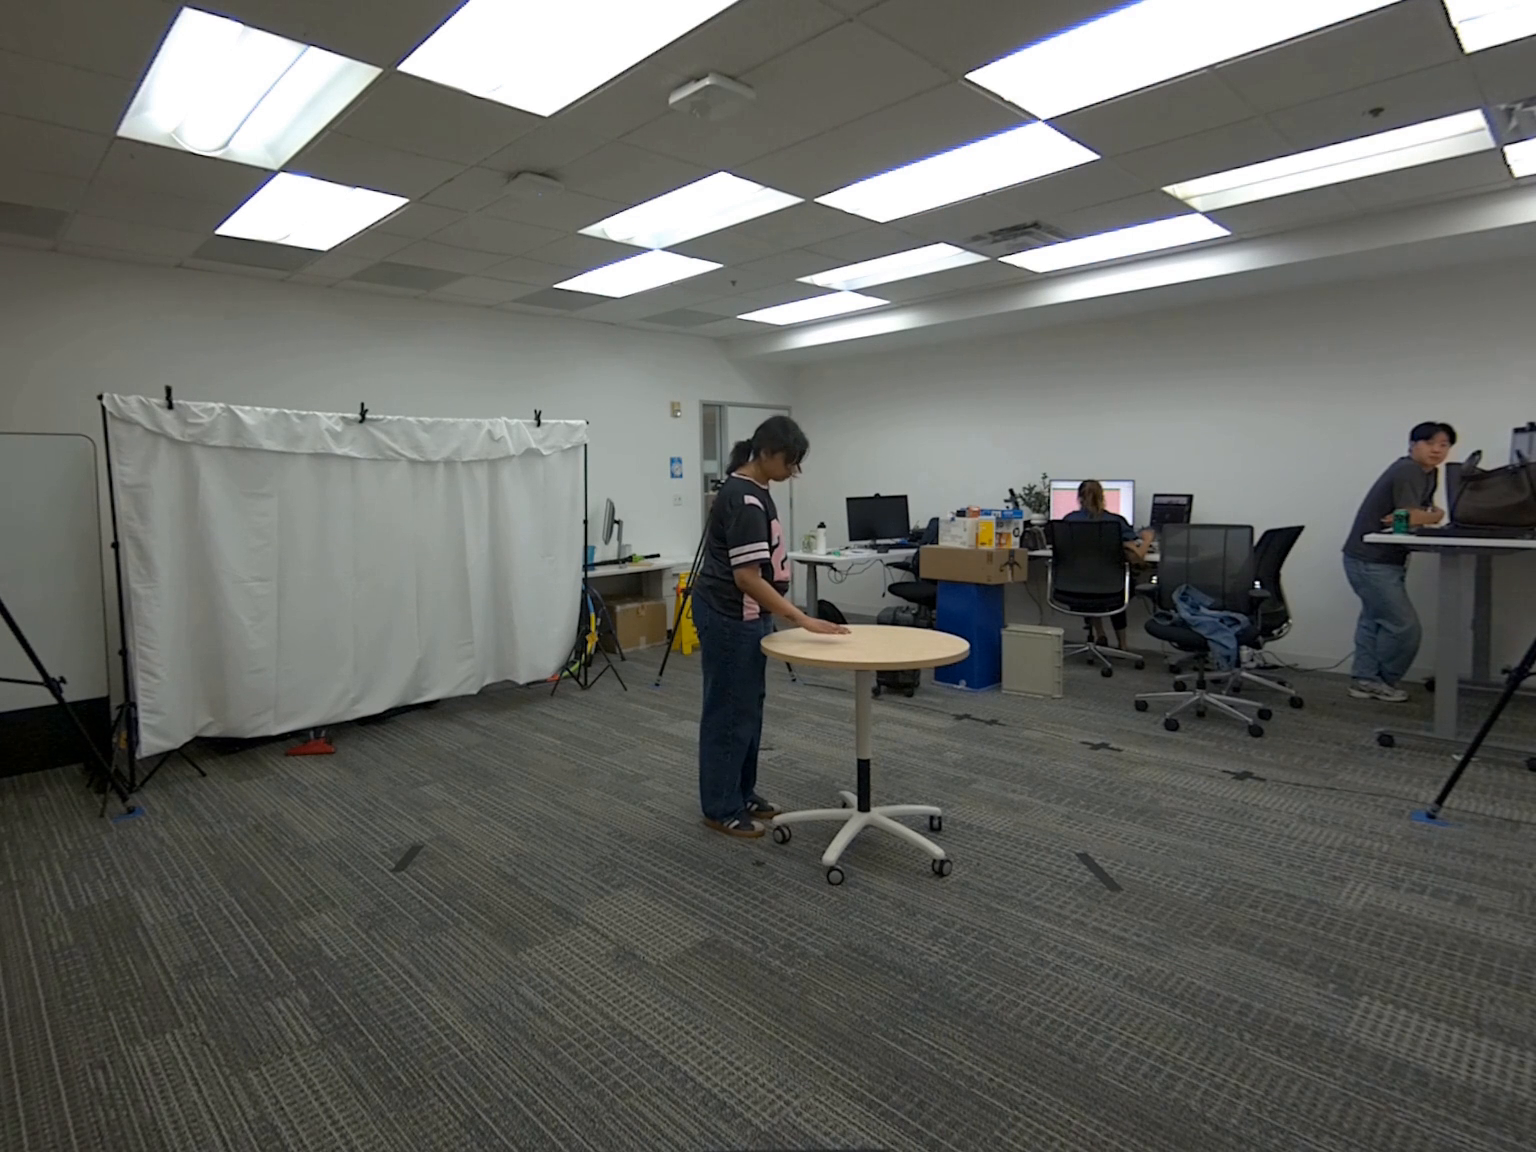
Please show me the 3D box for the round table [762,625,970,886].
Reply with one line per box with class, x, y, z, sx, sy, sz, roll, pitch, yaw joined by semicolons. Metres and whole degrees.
round table;0.370;0.635;3.222;0.784;0.784;0.789;-1;5;-2
